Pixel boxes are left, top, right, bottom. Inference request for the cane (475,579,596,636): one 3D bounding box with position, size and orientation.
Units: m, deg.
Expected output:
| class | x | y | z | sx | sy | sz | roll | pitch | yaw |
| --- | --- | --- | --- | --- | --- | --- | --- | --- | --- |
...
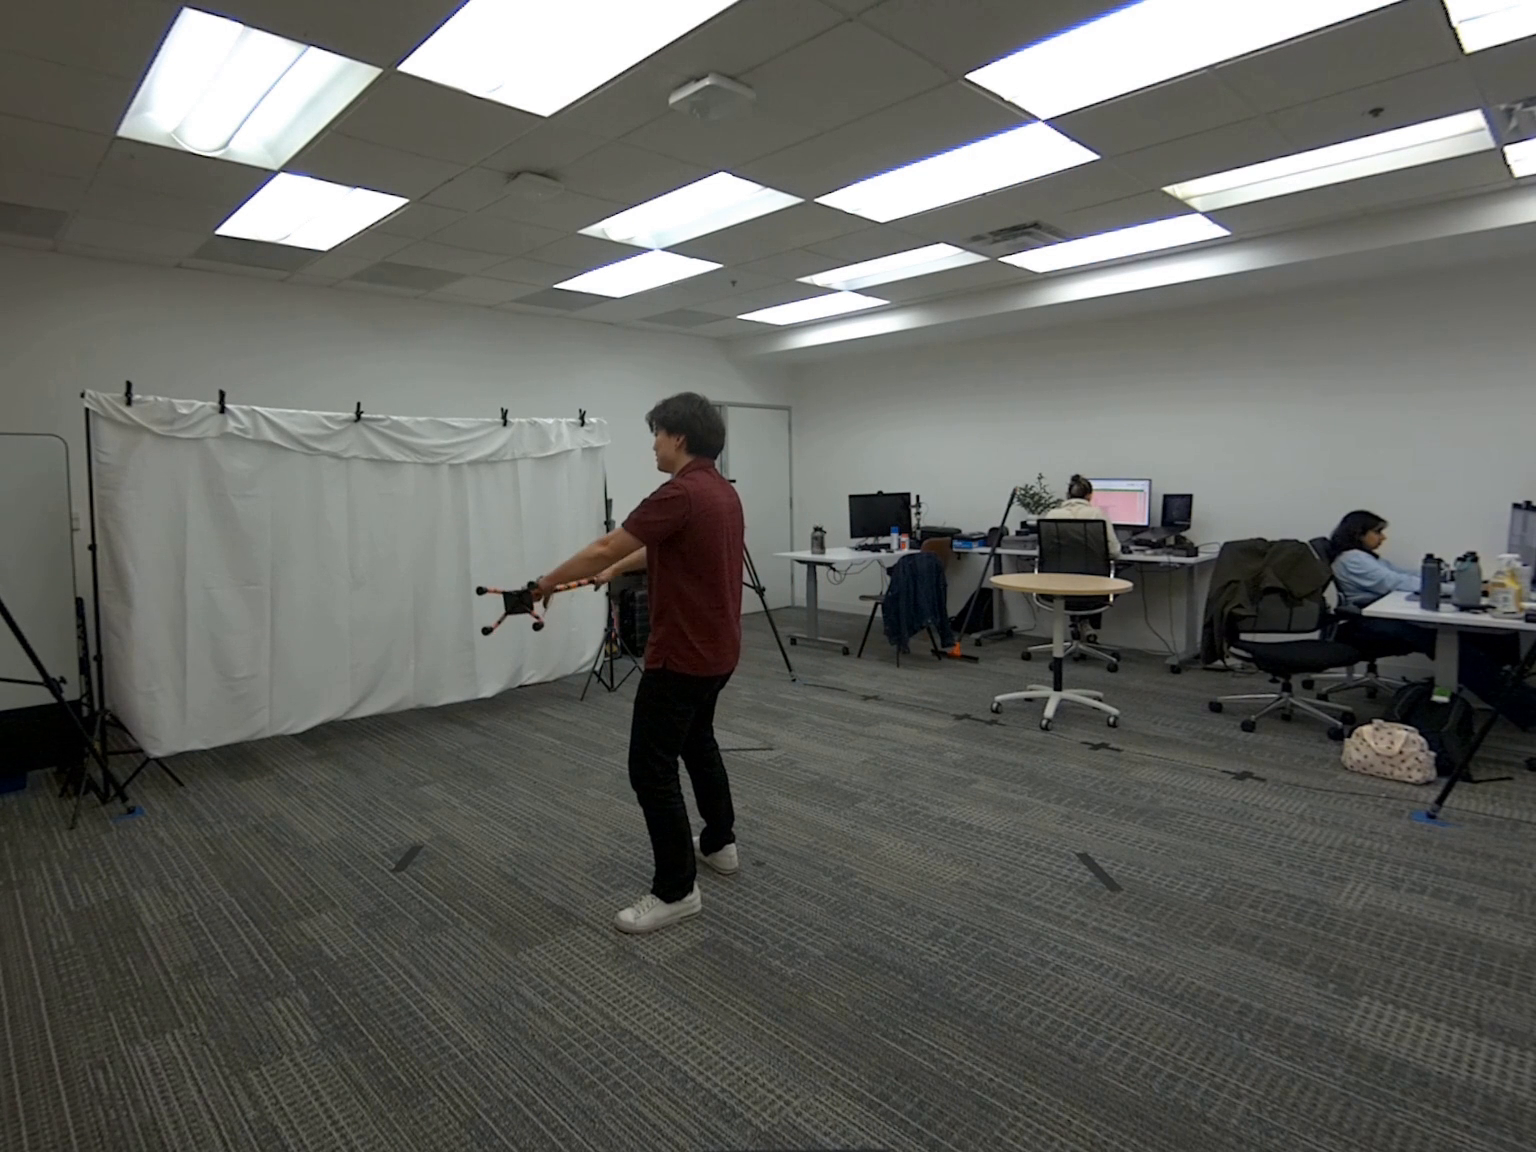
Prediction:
| class | x | y | z | sx | sy | sz | roll | pitch | yaw |
| --- | --- | --- | --- | --- | --- | --- | --- | --- | --- |
| cane | -0.668 | 0.046 | 2.995 | 0.209 | 0.151 | 0.900 | -6 | 5 | 13 |
